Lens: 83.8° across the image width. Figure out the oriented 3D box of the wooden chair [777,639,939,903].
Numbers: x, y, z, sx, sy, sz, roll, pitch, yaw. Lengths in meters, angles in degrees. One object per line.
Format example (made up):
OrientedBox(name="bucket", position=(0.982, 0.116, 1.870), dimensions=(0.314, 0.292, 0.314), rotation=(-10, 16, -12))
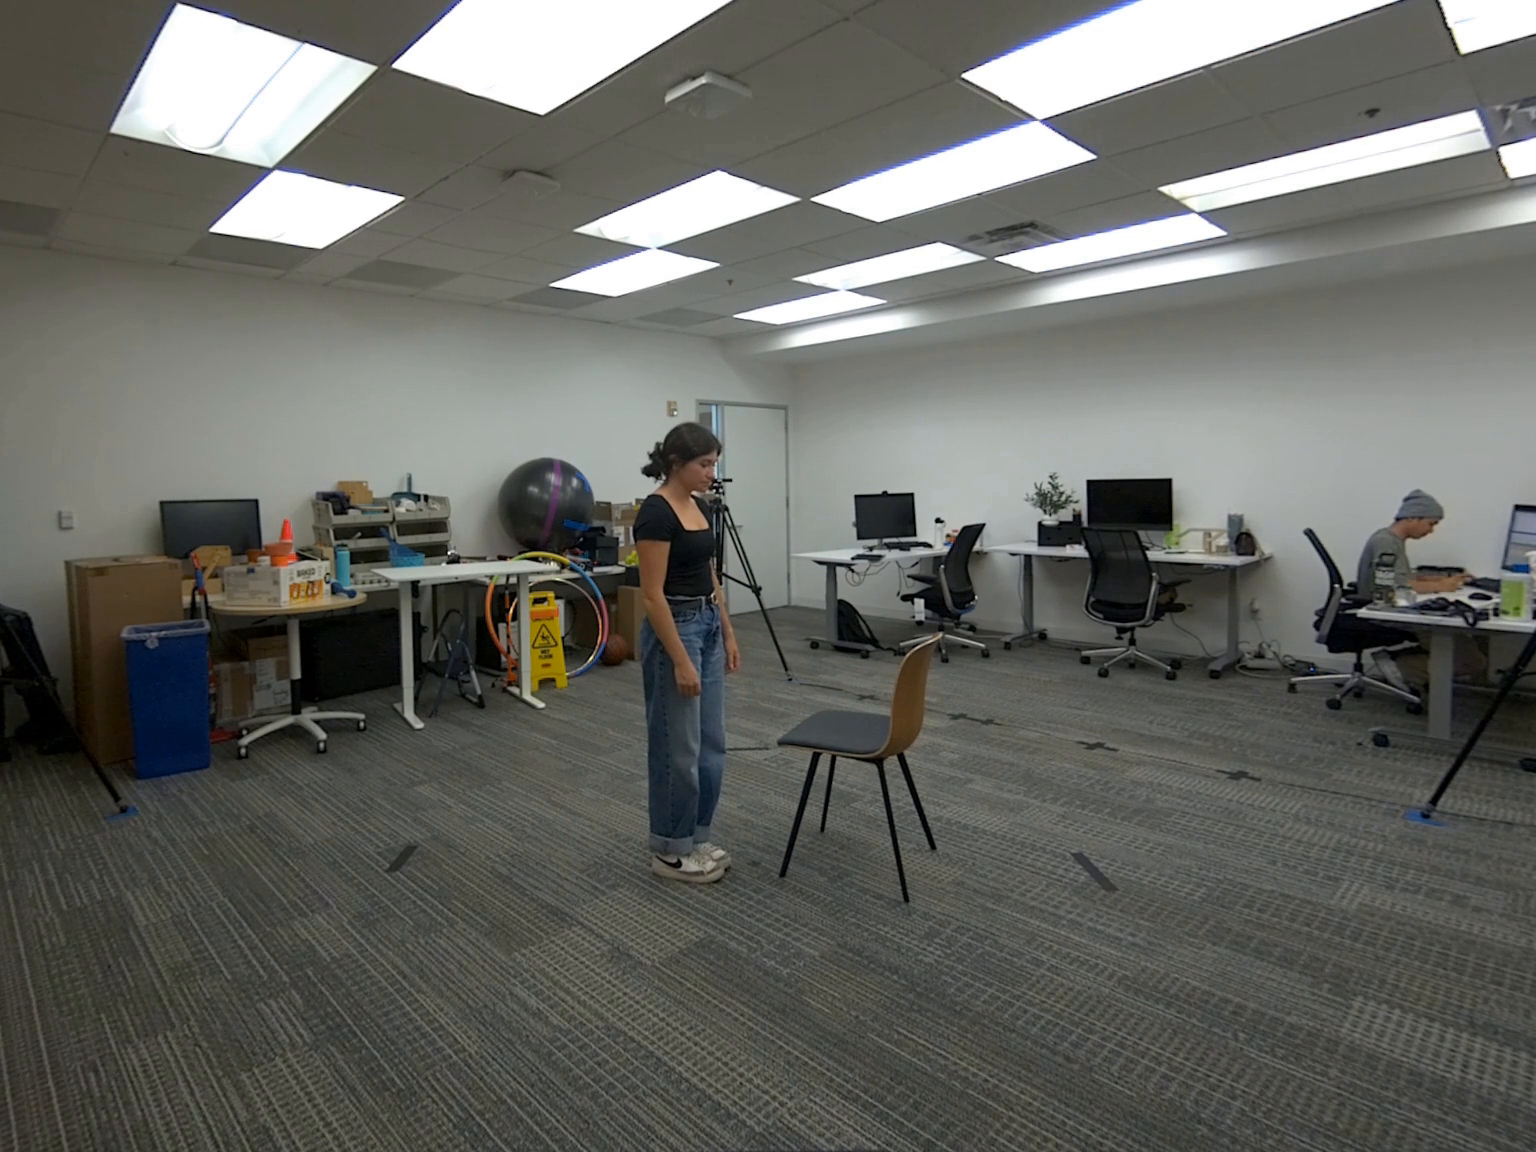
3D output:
OrientedBox(name="wooden chair", position=(0.316, 0.611, 3.064), dimensions=(0.536, 0.873, 0.469), rotation=(6, 7, 24))
